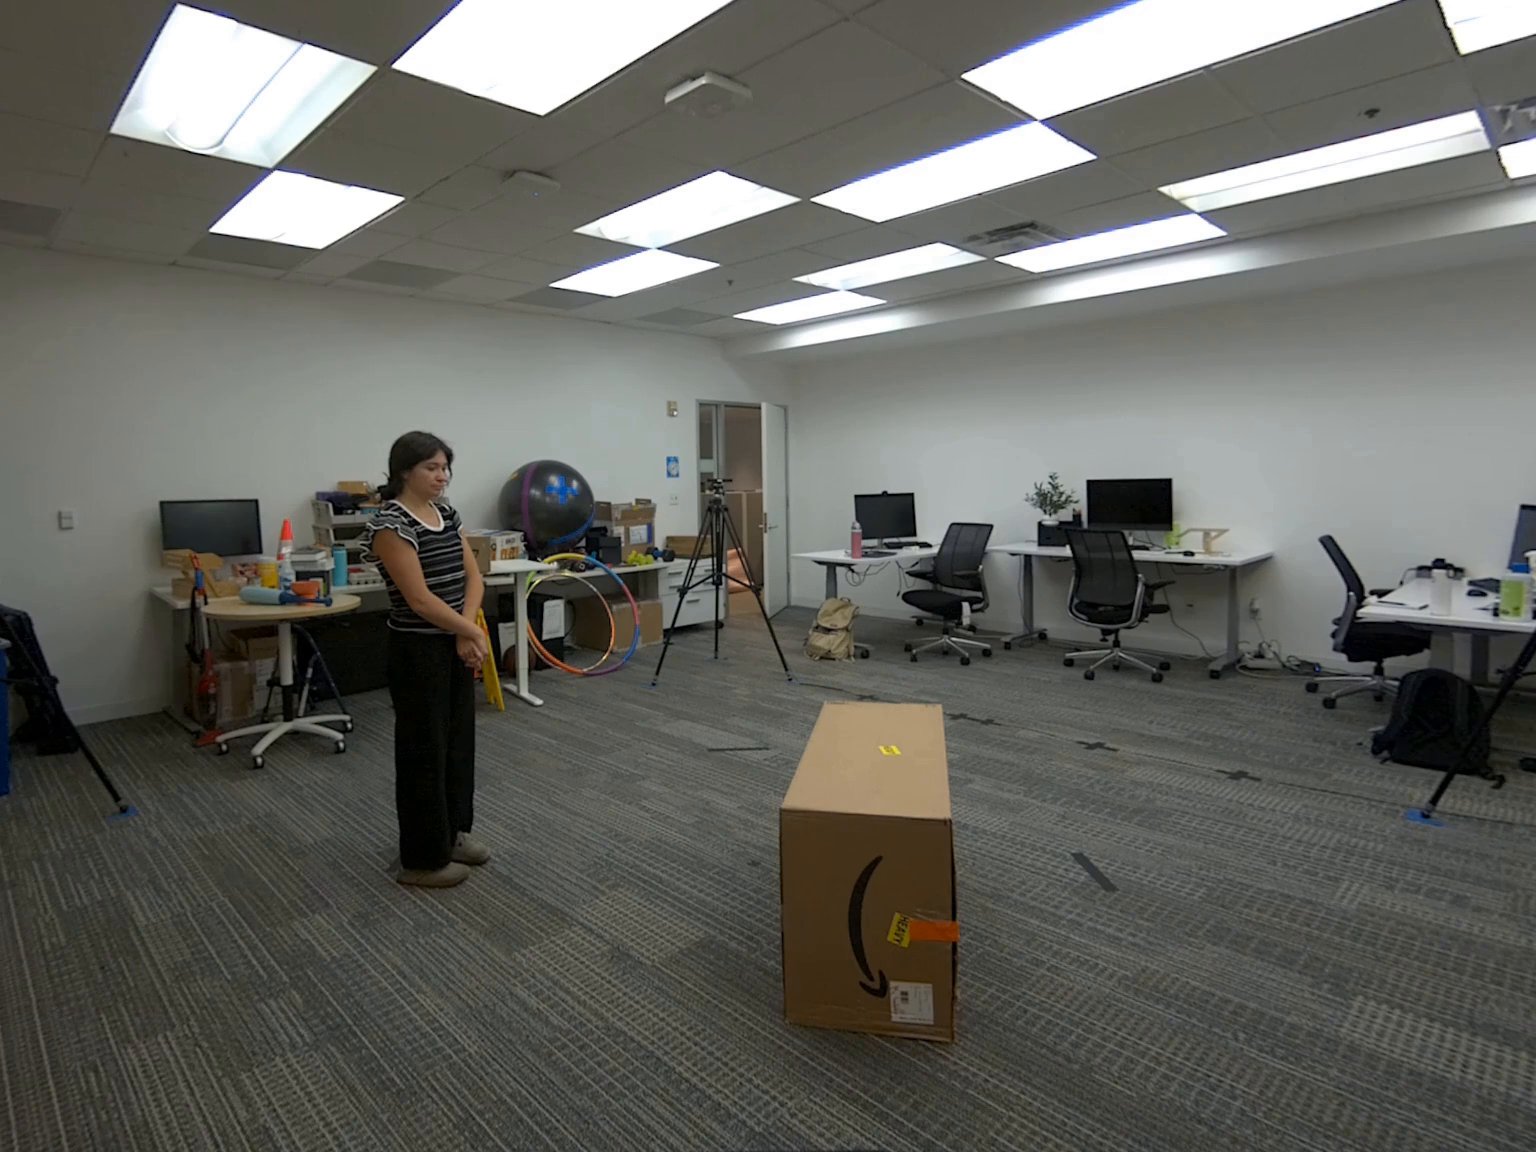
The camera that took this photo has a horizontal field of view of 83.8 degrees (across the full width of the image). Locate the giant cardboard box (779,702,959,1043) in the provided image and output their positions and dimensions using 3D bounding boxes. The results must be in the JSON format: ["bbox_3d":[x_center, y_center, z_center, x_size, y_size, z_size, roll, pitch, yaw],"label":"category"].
[{"bbox_3d":[0.340,0.806,2.607,0.431,0.575,1.018,0,6,12],"label":"giant cardboard box"}]
